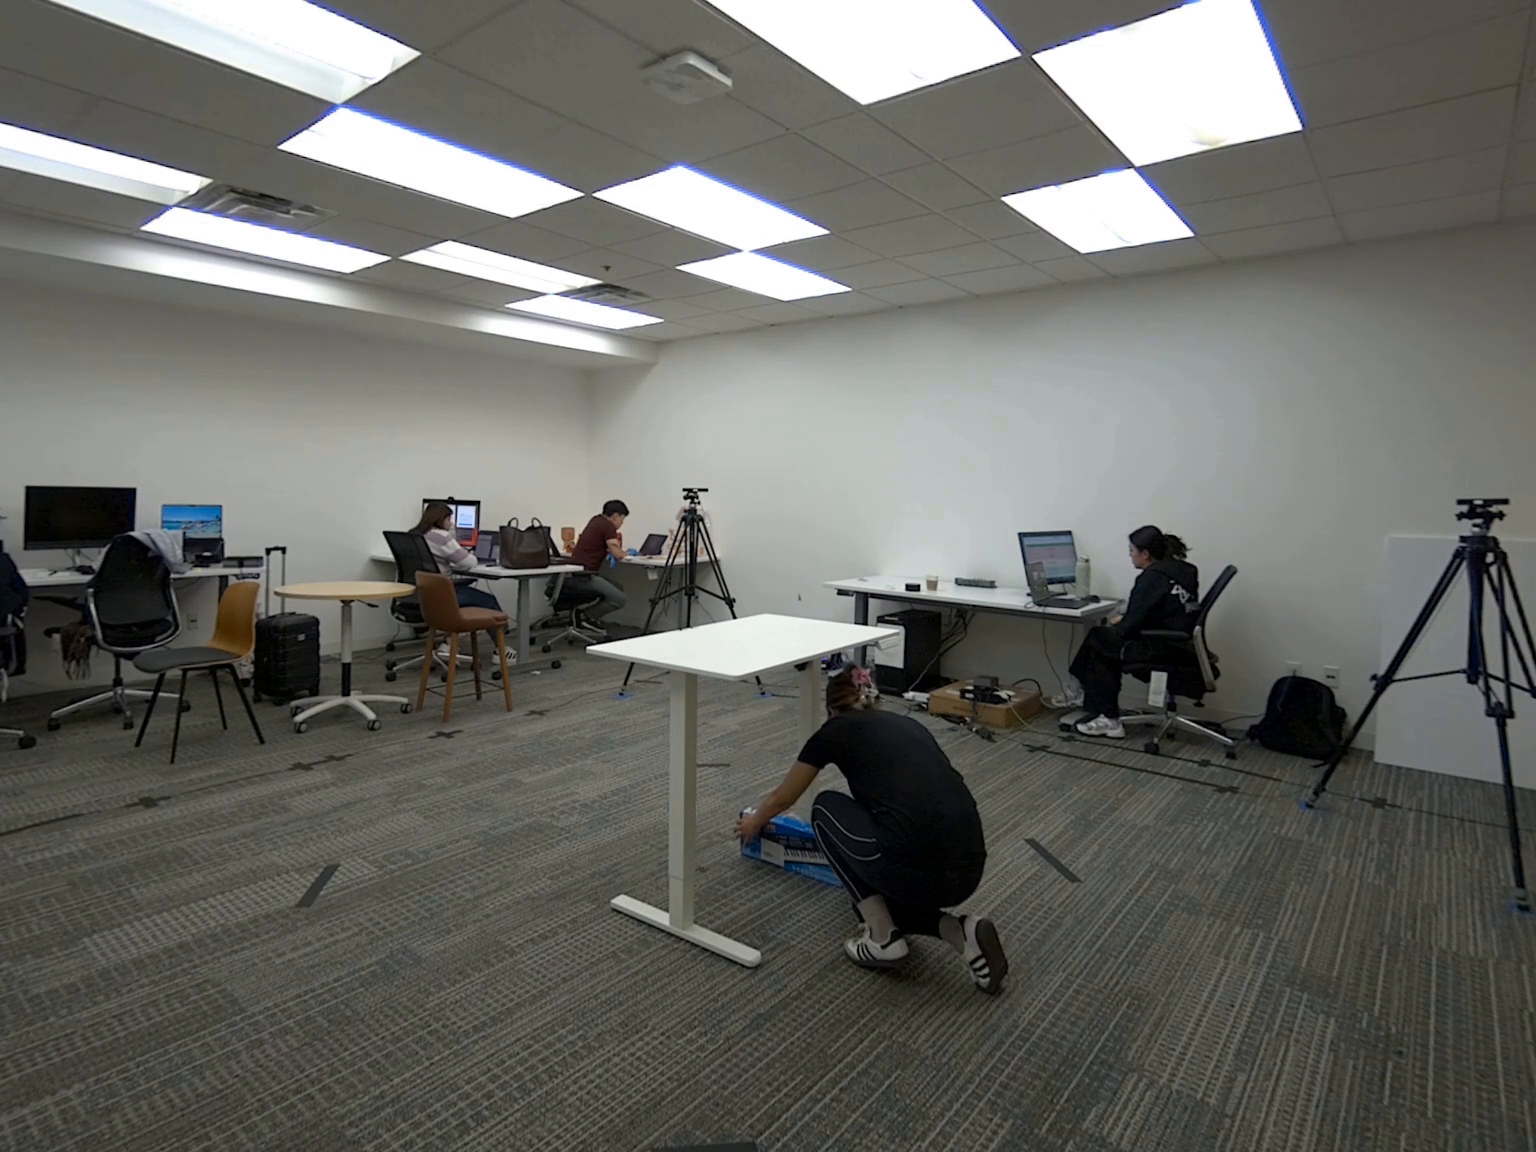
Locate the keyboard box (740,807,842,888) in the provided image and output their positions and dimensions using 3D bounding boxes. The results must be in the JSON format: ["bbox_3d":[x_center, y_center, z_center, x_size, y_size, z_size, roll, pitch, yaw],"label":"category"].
[{"bbox_3d":[0.084,0.988,3.127,0.451,0.174,0.058,5,11,34],"label":"keyboard box"}]
